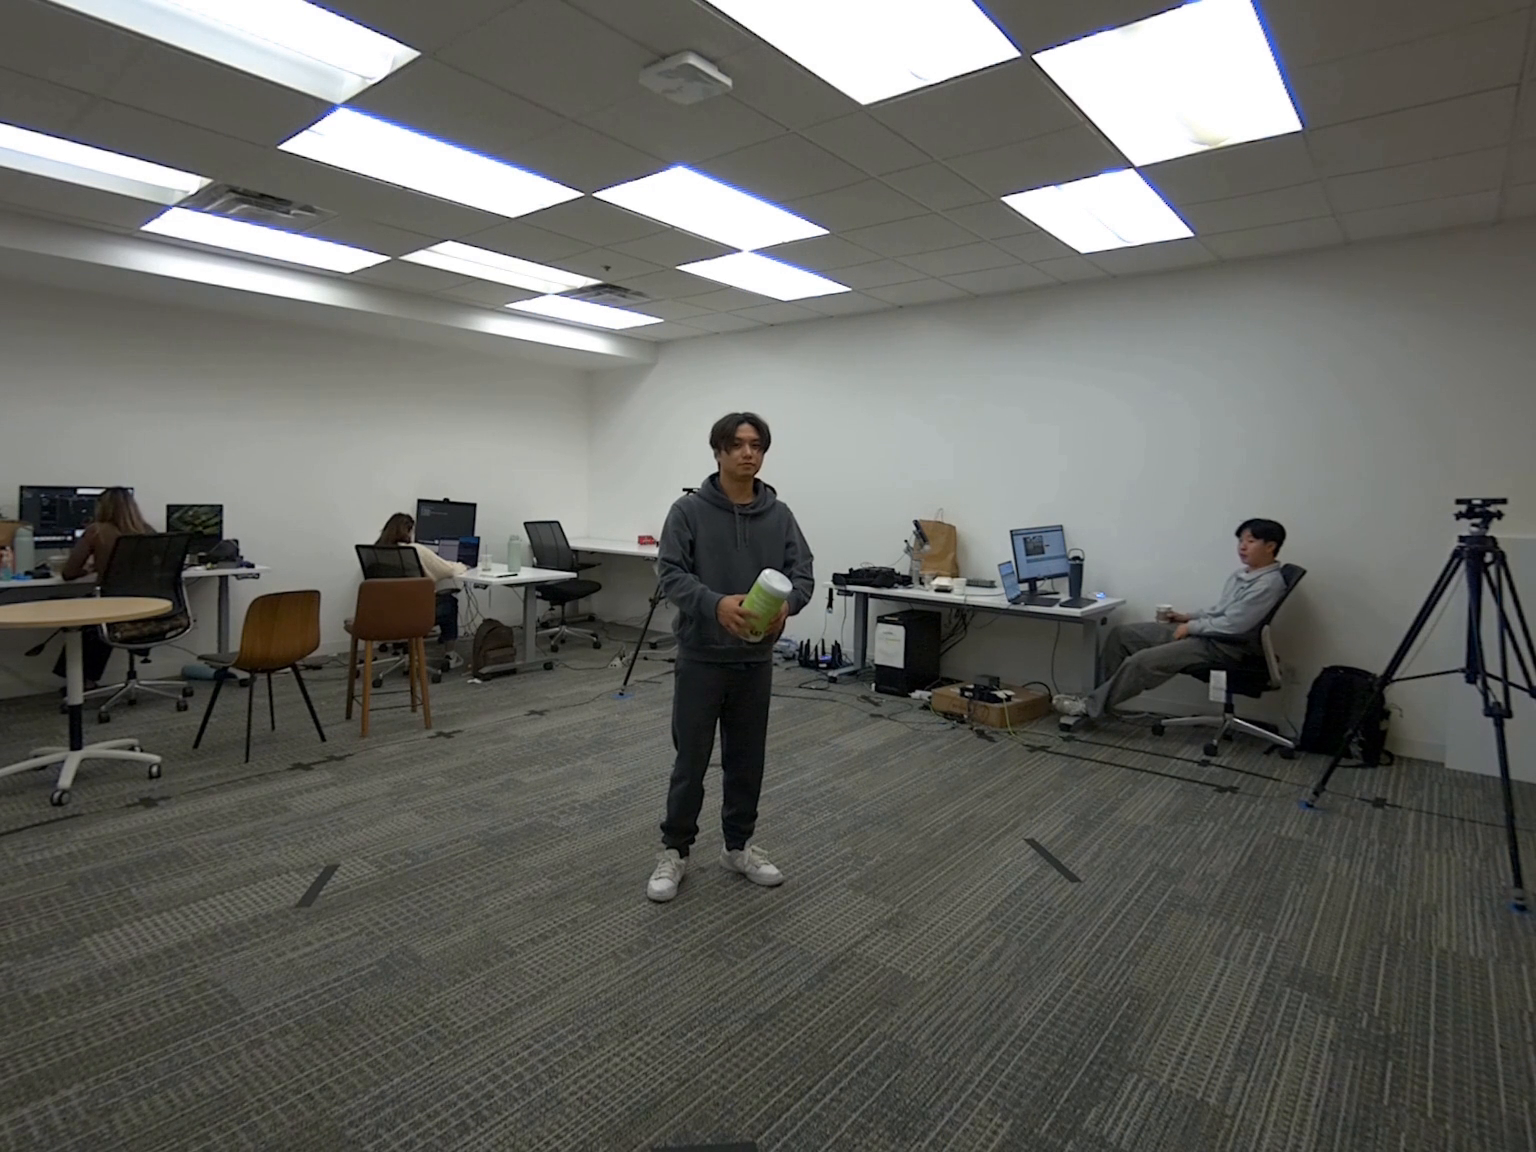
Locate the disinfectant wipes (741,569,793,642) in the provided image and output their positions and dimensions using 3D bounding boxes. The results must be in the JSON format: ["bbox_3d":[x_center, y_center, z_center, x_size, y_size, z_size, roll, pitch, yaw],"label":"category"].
[{"bbox_3d":[-0.029,0.090,2.662,0.116,0.215,0.121,20,30,-14],"label":"disinfectant wipes"}]
